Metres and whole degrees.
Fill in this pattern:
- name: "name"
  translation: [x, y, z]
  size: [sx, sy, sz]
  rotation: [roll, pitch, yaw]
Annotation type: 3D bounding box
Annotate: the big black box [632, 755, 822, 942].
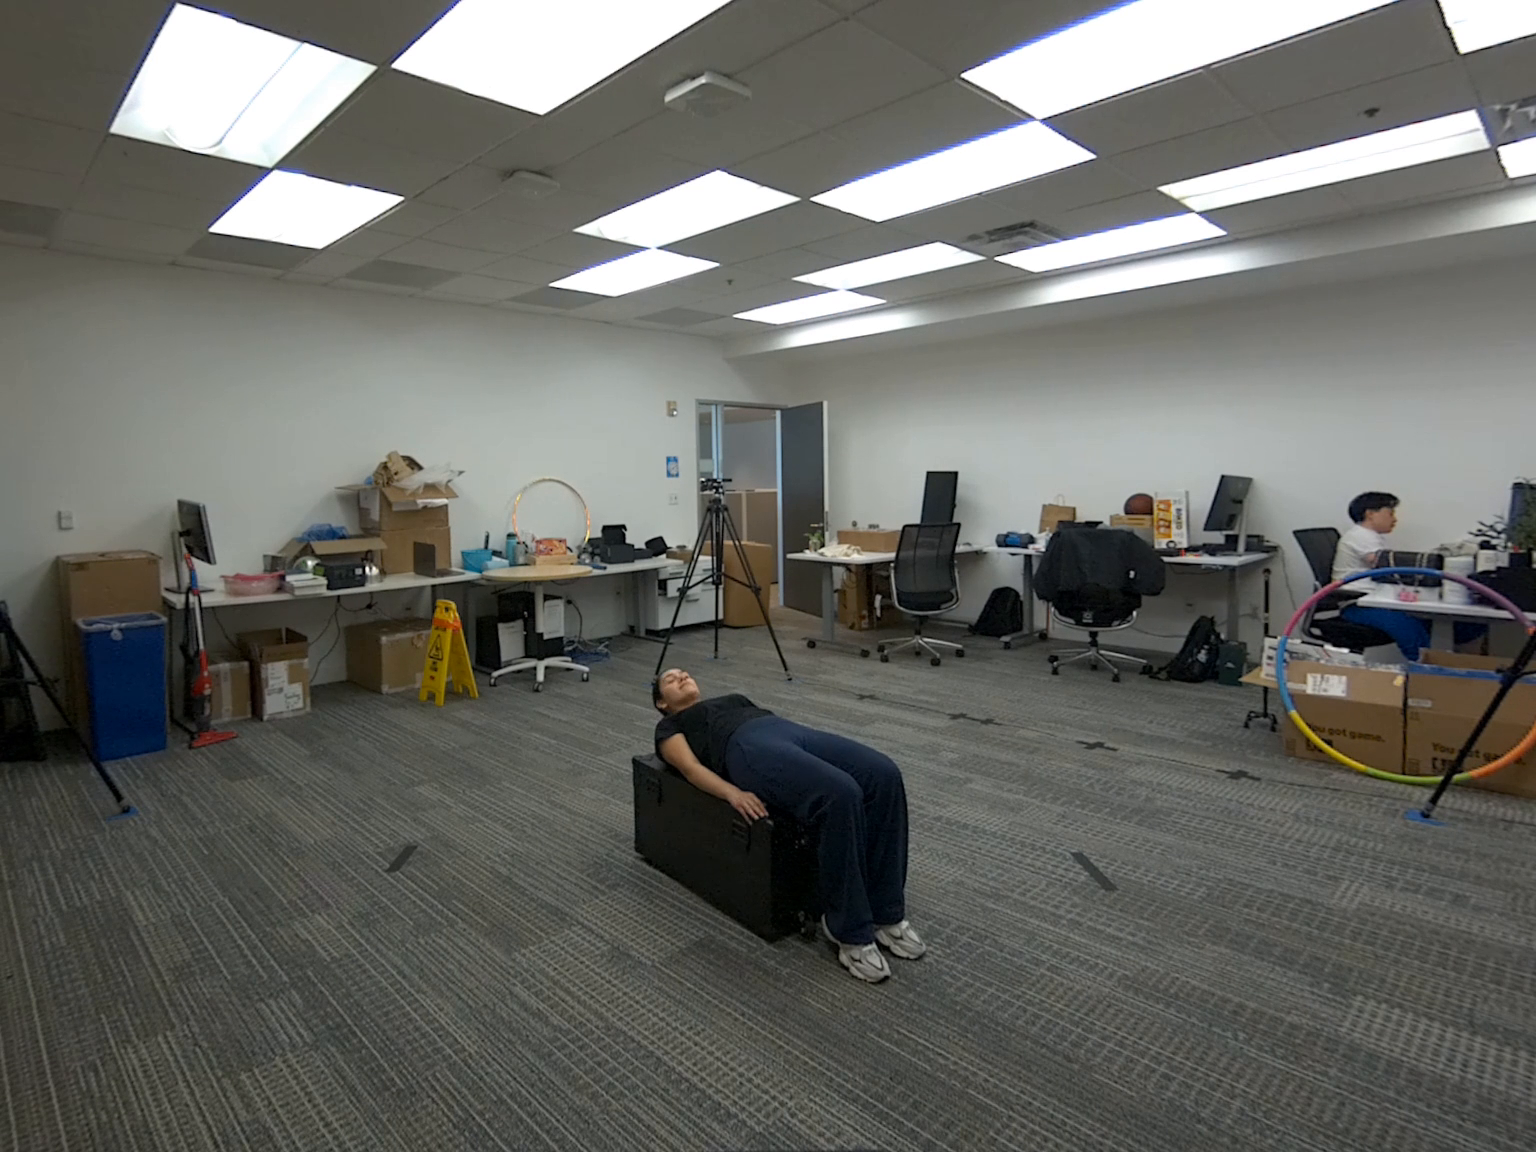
- name: "big black box"
  translation: [-0.079, 0.872, 3.035]
  size: [0.507, 0.394, 0.889]
  rotation: [-5, 8, -39]
